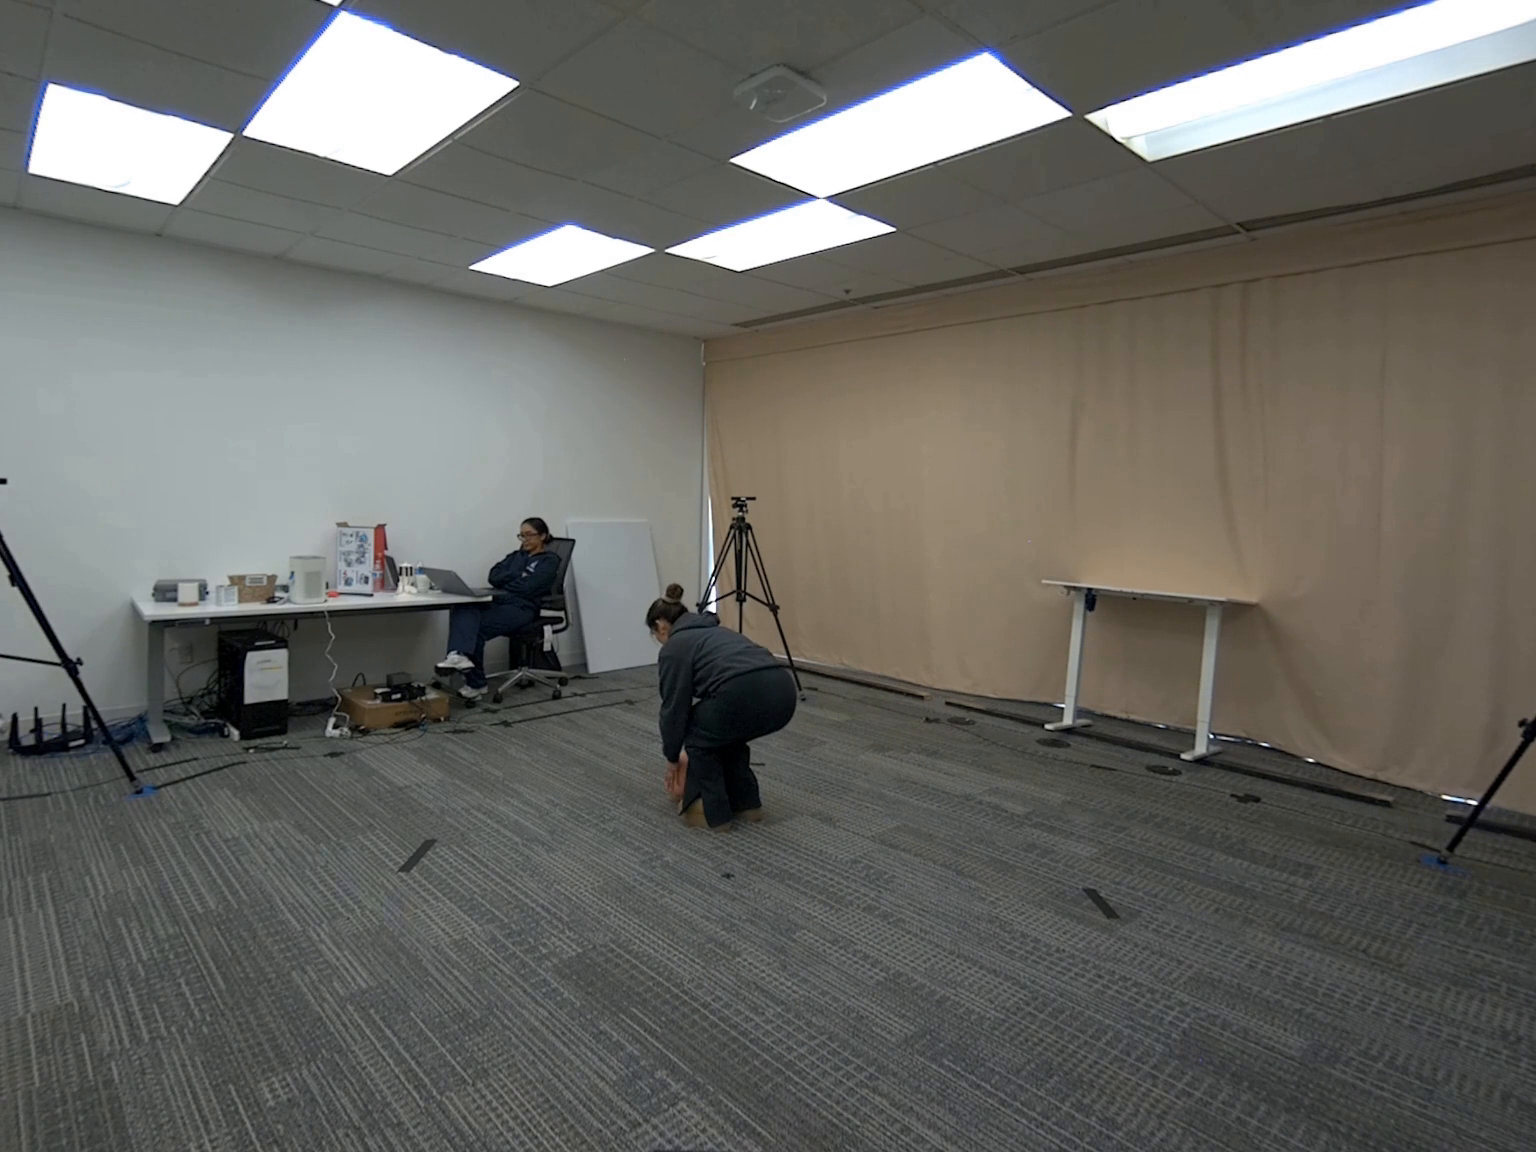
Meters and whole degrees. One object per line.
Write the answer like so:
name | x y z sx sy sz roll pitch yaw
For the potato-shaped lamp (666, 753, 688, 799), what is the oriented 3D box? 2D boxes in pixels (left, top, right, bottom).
potato-shaped lamp | -0.397 0.880 3.861 0.161 0.197 0.176 -4 8 -38
